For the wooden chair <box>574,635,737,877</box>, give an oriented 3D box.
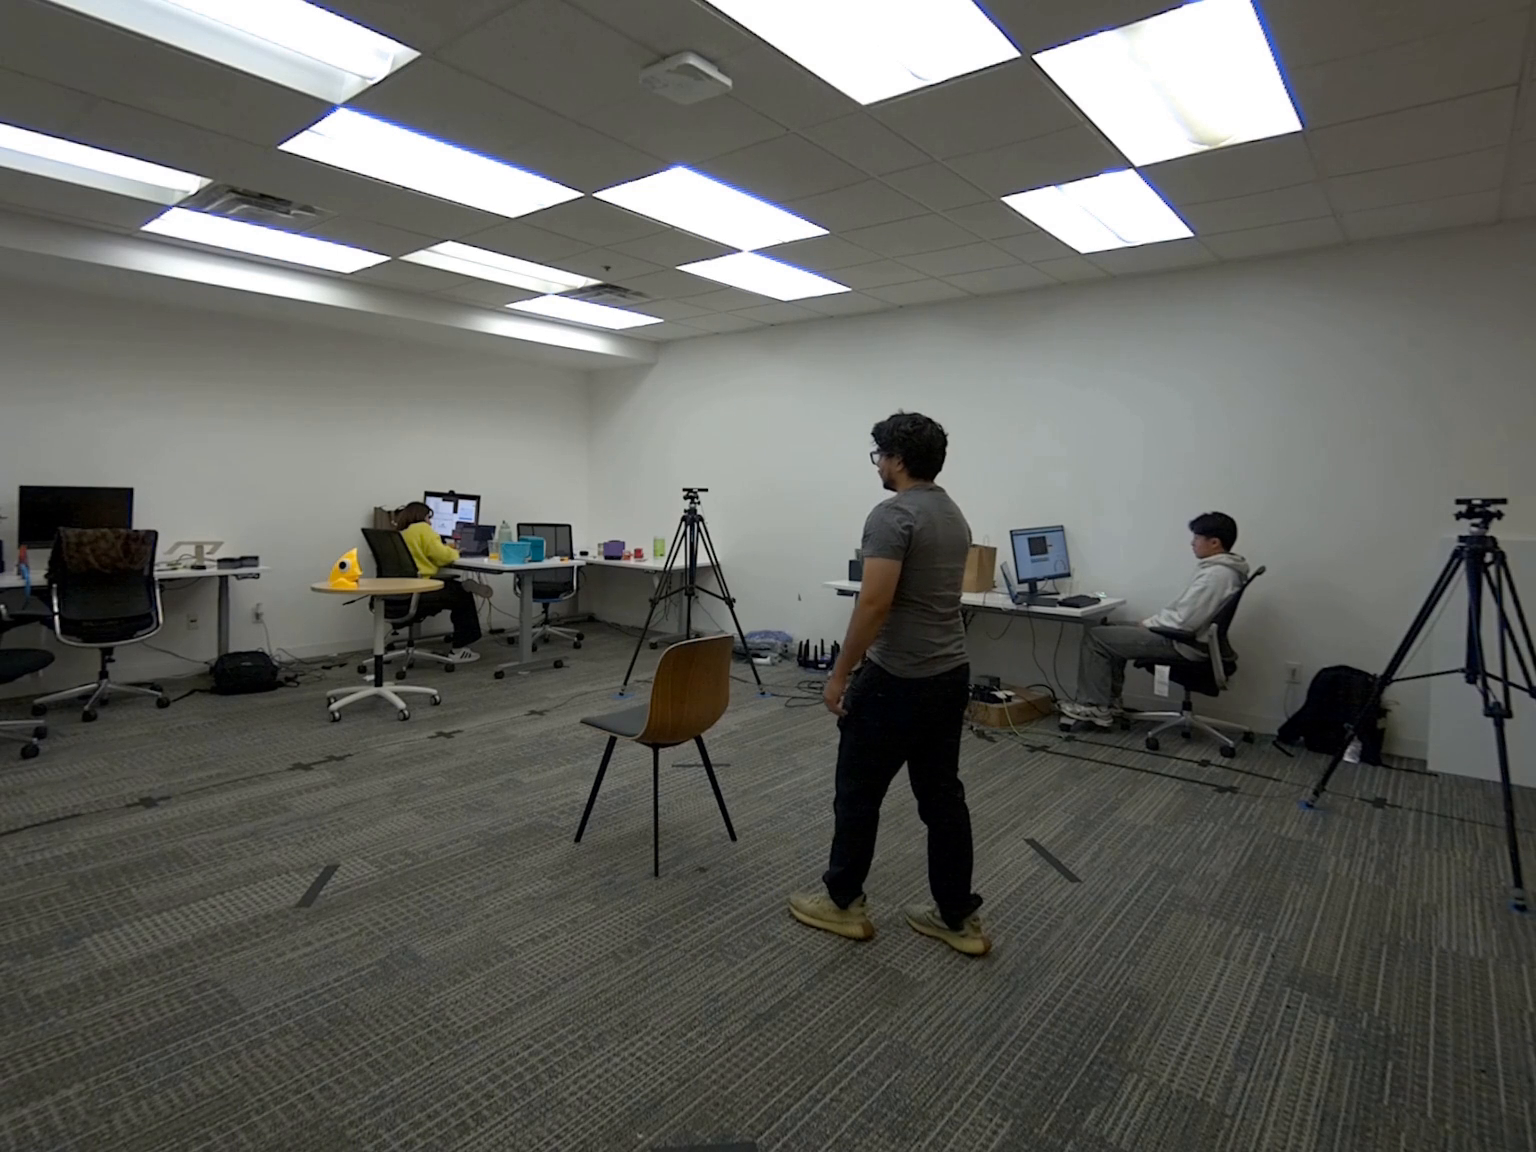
[{"bbox_3d":[-0.449,0.618,3.327,0.542,0.873,0.464,9,7,39],"label":"wooden chair"}]
